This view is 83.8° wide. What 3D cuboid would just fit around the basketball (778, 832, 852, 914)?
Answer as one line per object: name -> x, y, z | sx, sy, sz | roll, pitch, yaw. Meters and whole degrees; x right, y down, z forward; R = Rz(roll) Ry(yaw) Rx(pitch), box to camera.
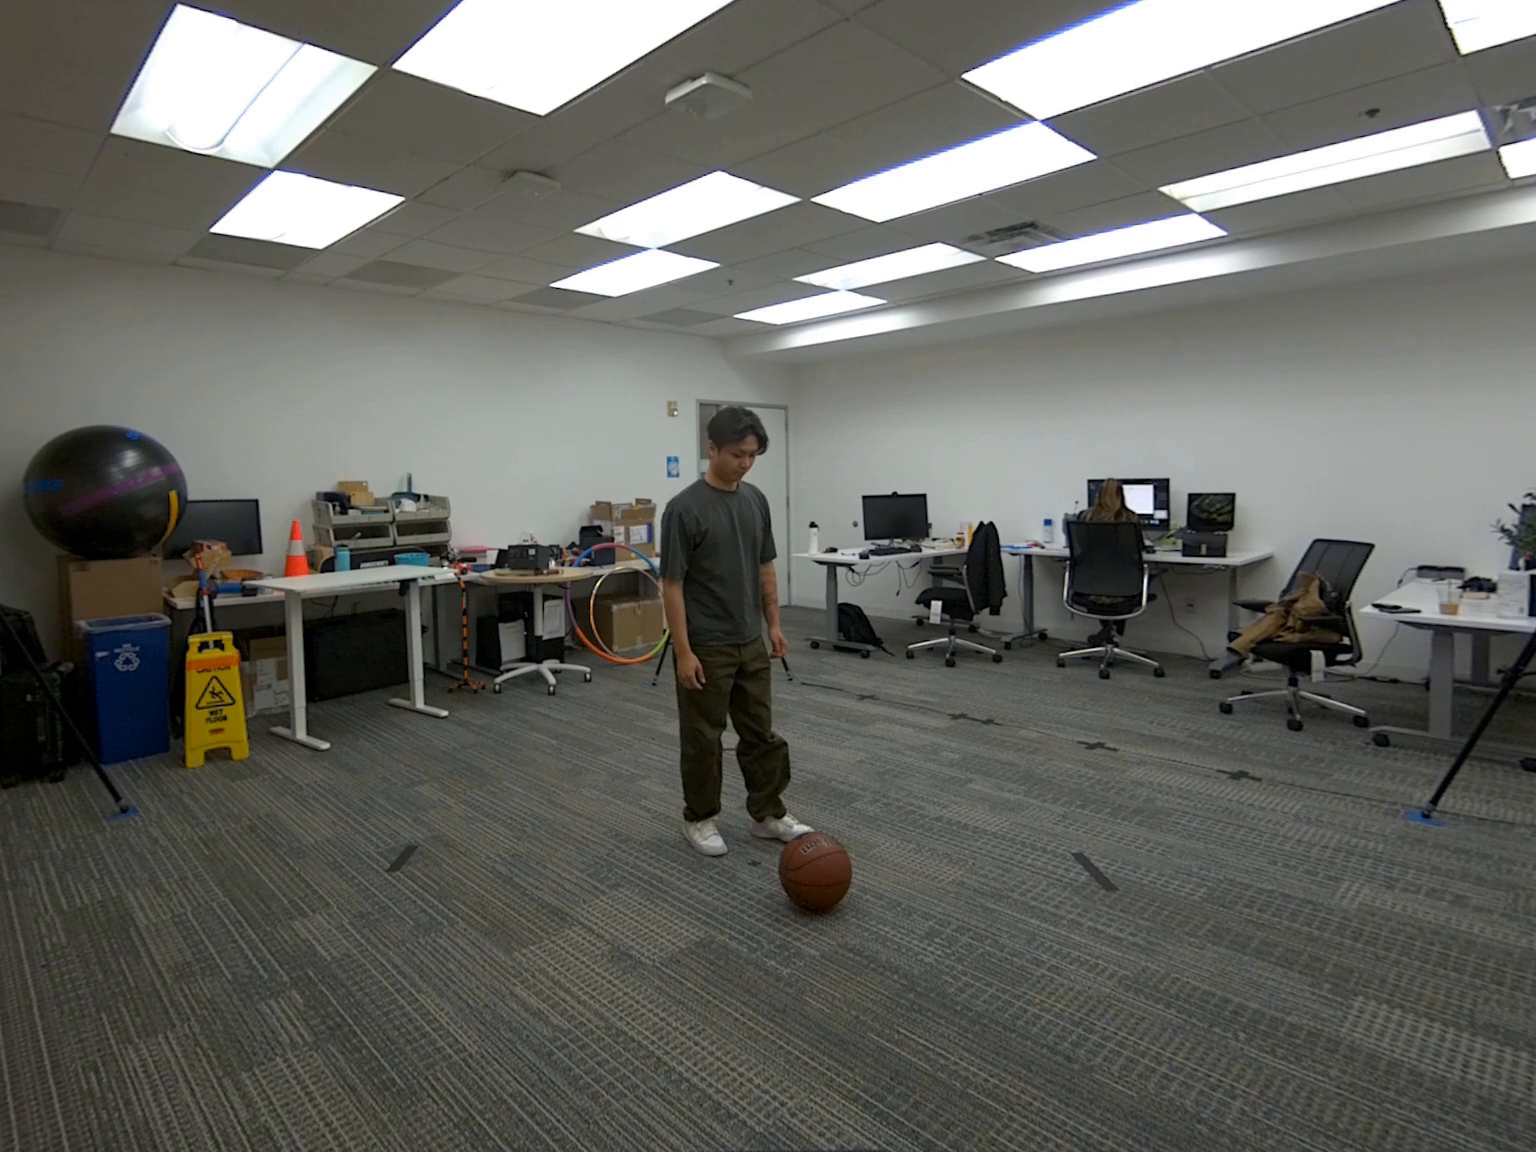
basketball -> 0.155, 0.951, 2.791 | 0.236, 0.235, 0.237 | -1, 5, -2
